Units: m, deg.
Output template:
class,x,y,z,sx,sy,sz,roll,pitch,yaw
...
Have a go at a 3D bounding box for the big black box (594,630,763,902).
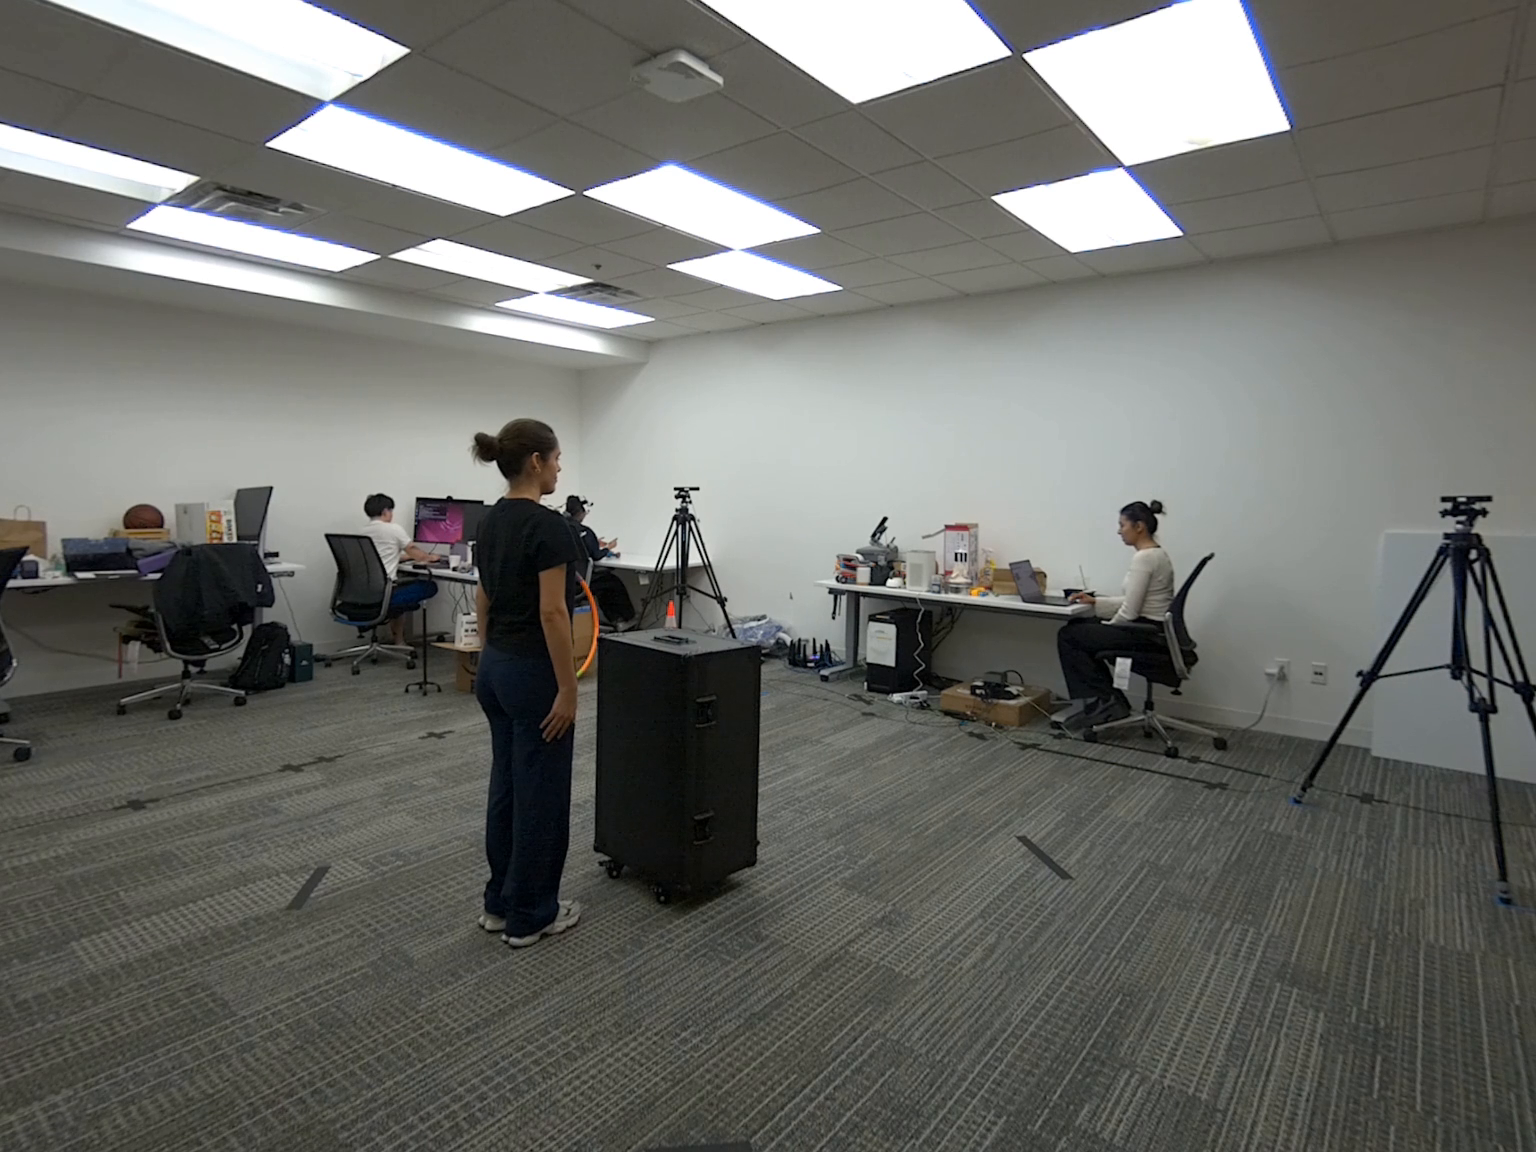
class,x,y,z,sx,sy,sz,roll,pitch,yaw
big black box,-0.311,0.647,3.044,0.539,0.860,0.384,4,3,44
